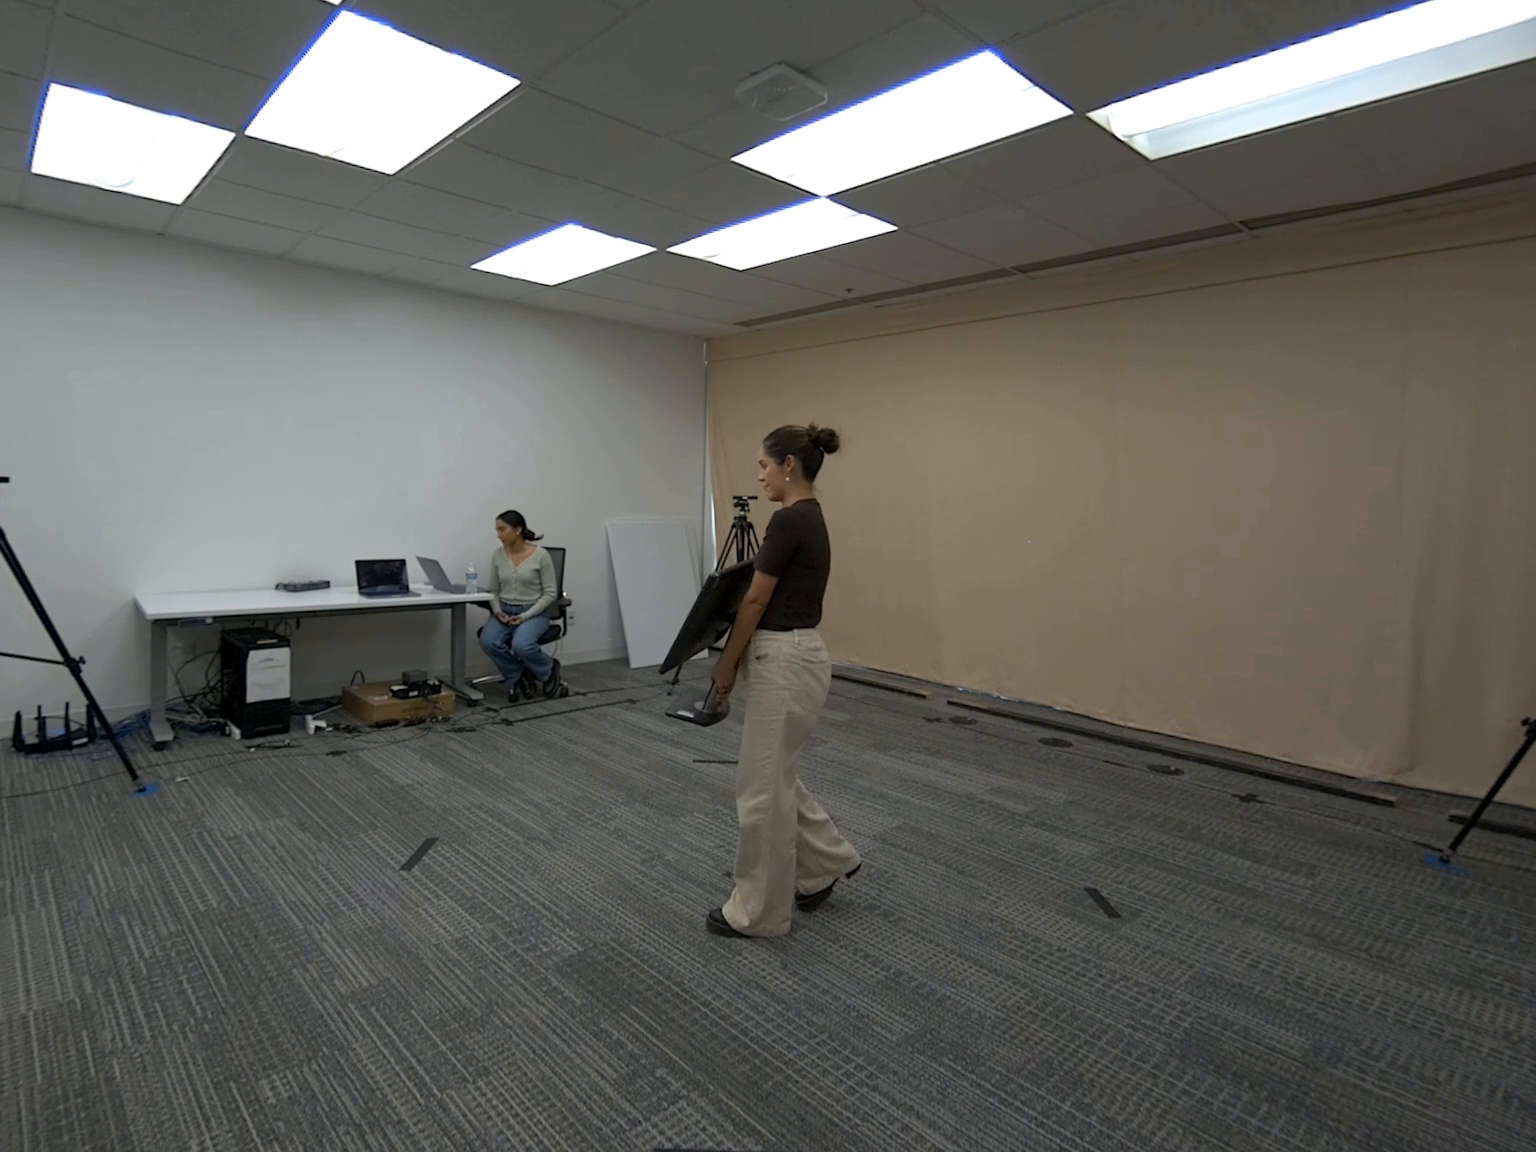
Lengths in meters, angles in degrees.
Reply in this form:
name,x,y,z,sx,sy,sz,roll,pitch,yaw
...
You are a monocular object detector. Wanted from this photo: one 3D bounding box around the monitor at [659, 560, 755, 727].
name,x,y,z,sx,sy,sz,roll,pitch,yaw
monitor,-0.162,0.203,2.726,0.189,0.519,0.535,18,12,11
